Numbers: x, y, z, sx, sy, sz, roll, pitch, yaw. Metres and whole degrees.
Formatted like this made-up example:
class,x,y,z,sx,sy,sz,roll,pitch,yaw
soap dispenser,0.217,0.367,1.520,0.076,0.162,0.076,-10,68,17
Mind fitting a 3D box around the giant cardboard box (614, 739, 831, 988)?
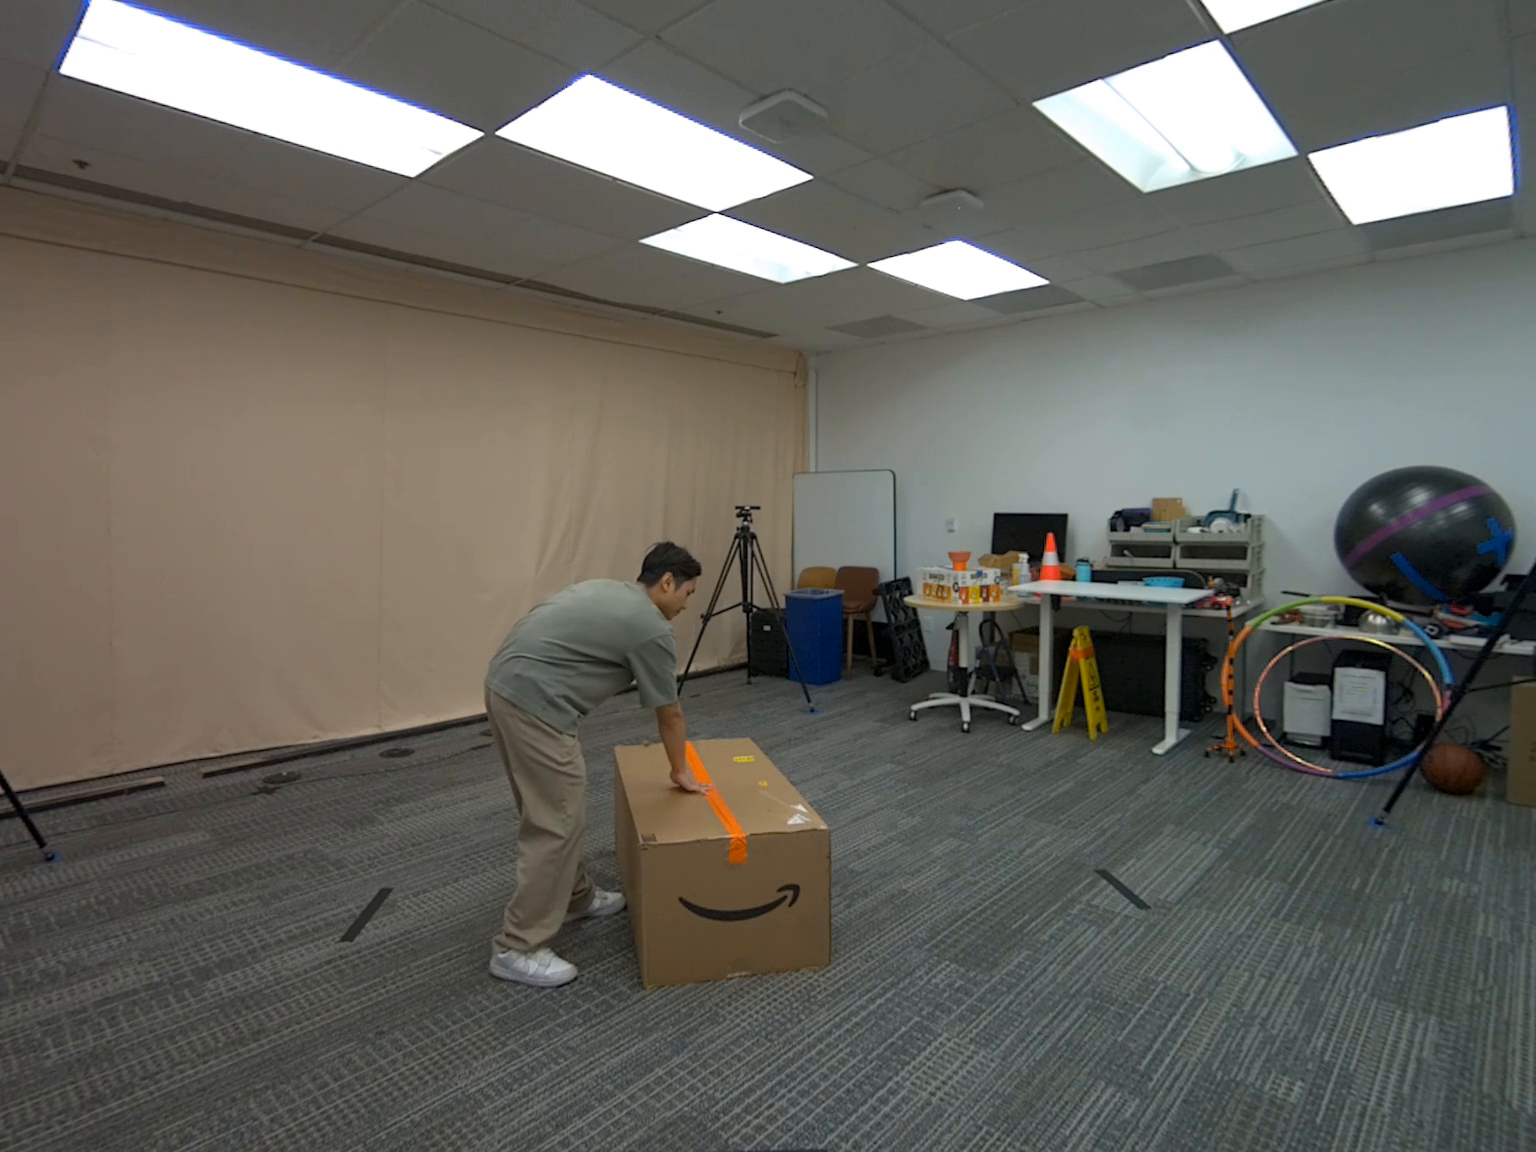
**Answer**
class,x,y,z,sx,sy,sz,roll,pitch,yaw
giant cardboard box,-0.213,0.933,2.975,0.570,0.425,1.043,-1,5,-14
